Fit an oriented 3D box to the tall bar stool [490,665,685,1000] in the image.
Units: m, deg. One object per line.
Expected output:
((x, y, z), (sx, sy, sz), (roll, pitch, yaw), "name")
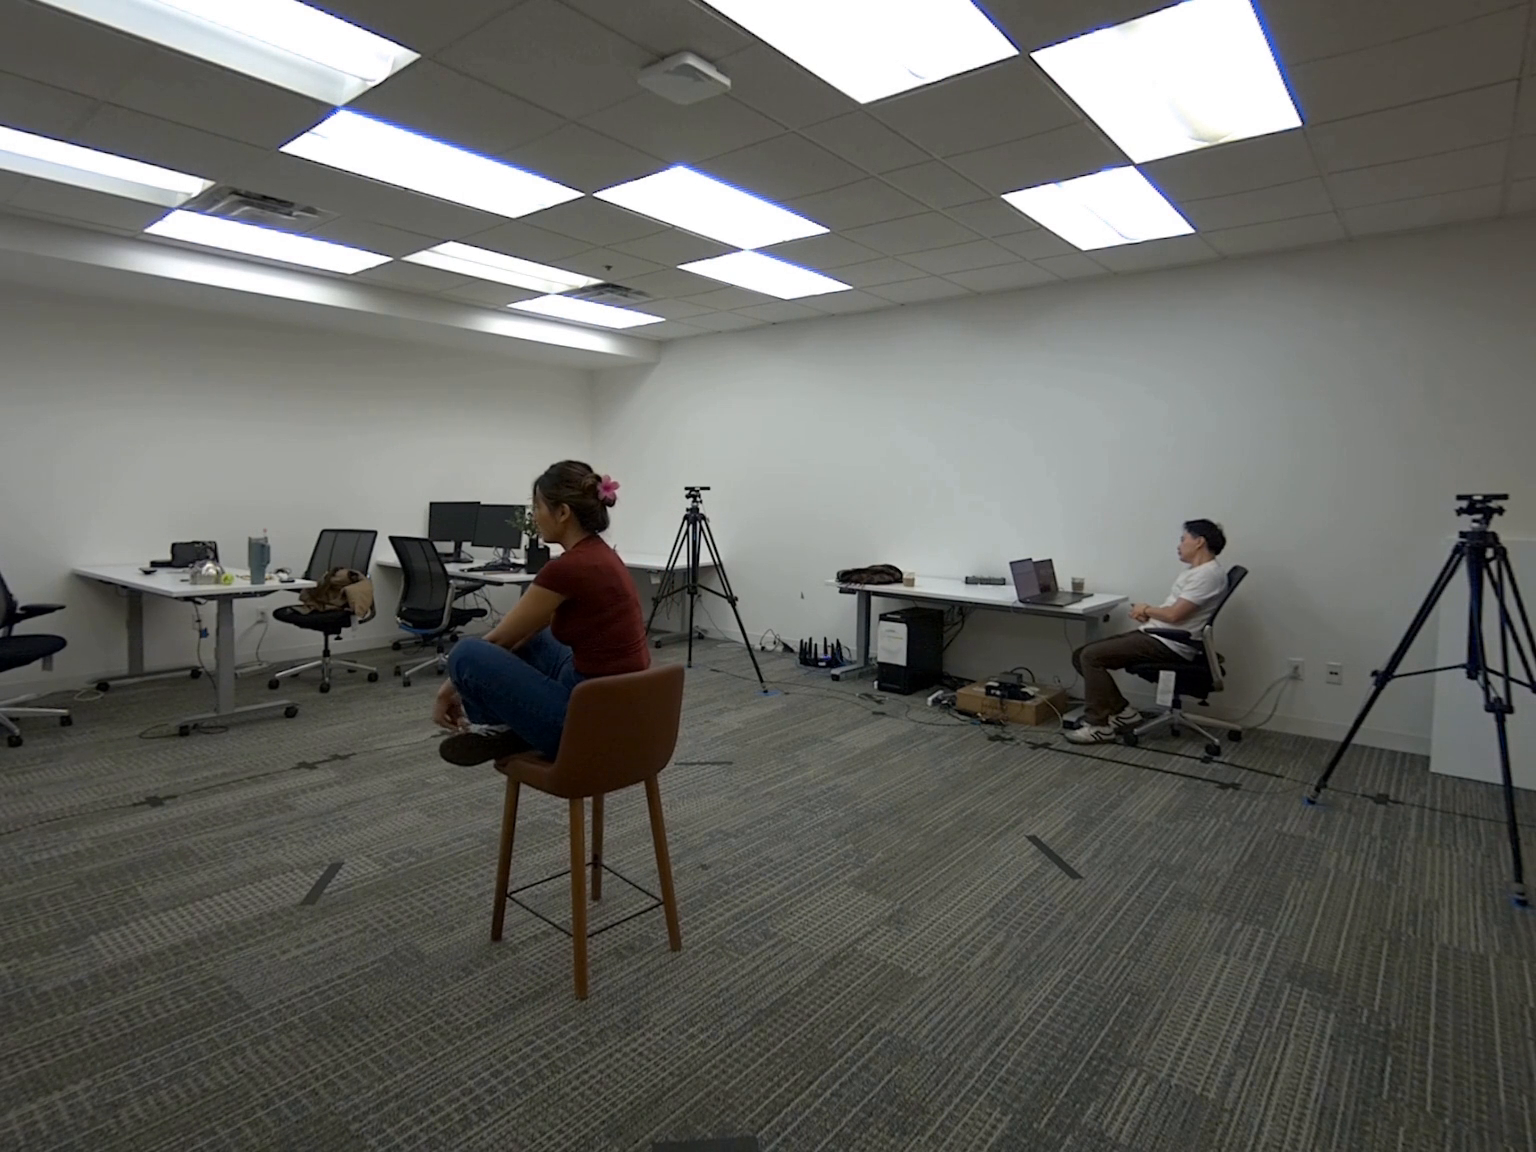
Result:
((-0.548, 0.684, 2.550), (0.484, 0.886, 0.443), (6, 7, 43), "tall bar stool")
